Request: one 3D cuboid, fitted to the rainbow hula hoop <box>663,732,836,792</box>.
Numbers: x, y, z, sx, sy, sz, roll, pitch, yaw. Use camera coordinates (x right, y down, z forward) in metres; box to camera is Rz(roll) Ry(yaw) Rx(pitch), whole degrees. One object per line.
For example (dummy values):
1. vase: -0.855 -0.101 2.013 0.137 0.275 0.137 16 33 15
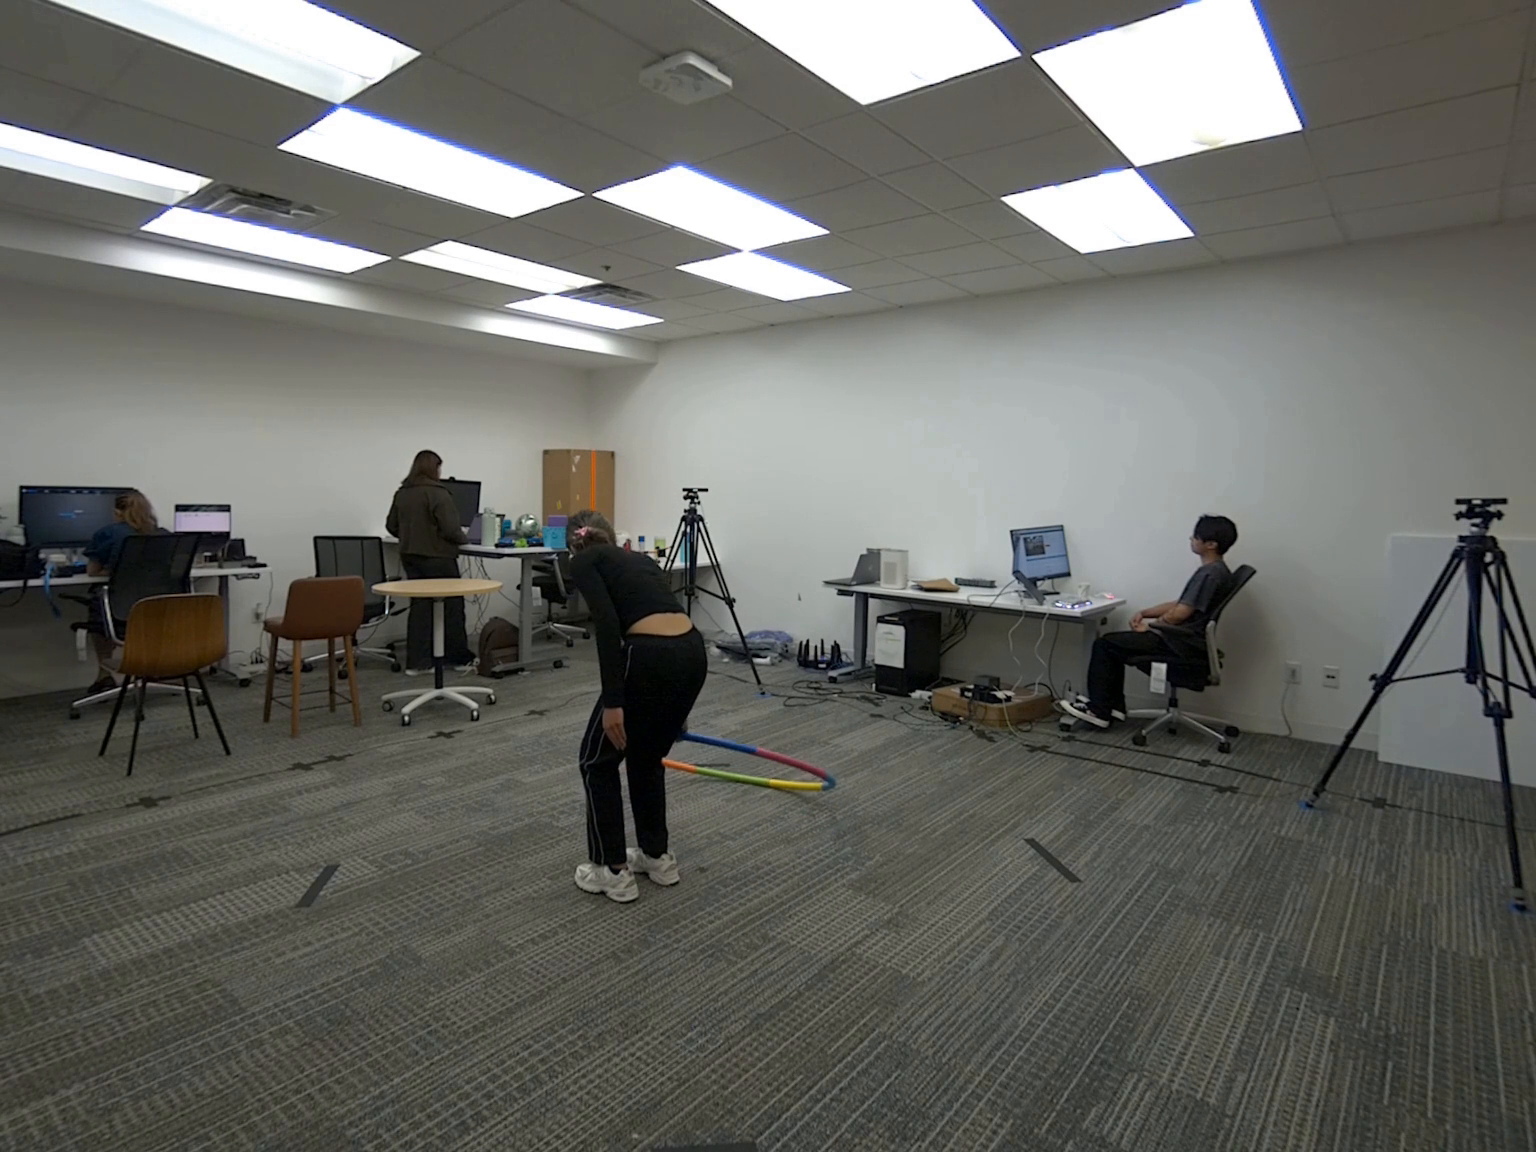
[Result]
1. rainbow hula hoop: -0.213 0.785 3.627 0.983 0.036 0.960 11 -20 3
